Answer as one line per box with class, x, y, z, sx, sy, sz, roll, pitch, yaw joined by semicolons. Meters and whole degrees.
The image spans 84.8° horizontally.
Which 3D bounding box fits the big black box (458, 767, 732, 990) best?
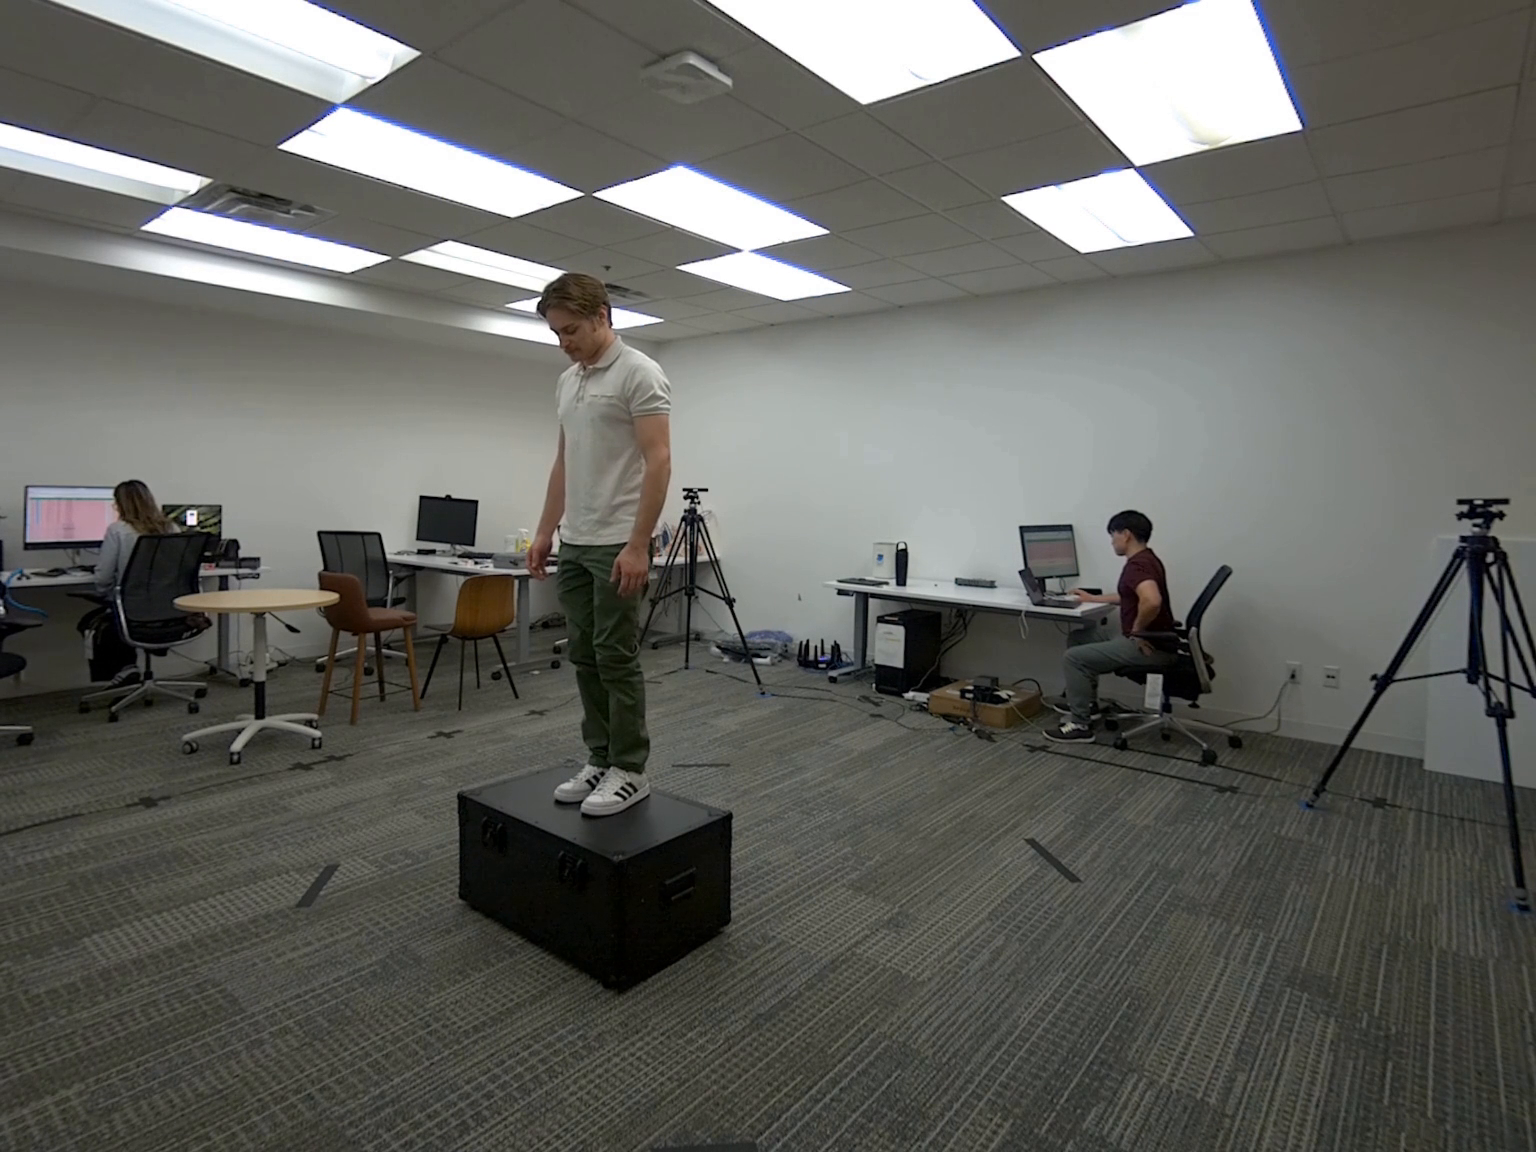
big black box;-0.603;0.906;2.764;0.897;0.383;0.508;4;7;39
